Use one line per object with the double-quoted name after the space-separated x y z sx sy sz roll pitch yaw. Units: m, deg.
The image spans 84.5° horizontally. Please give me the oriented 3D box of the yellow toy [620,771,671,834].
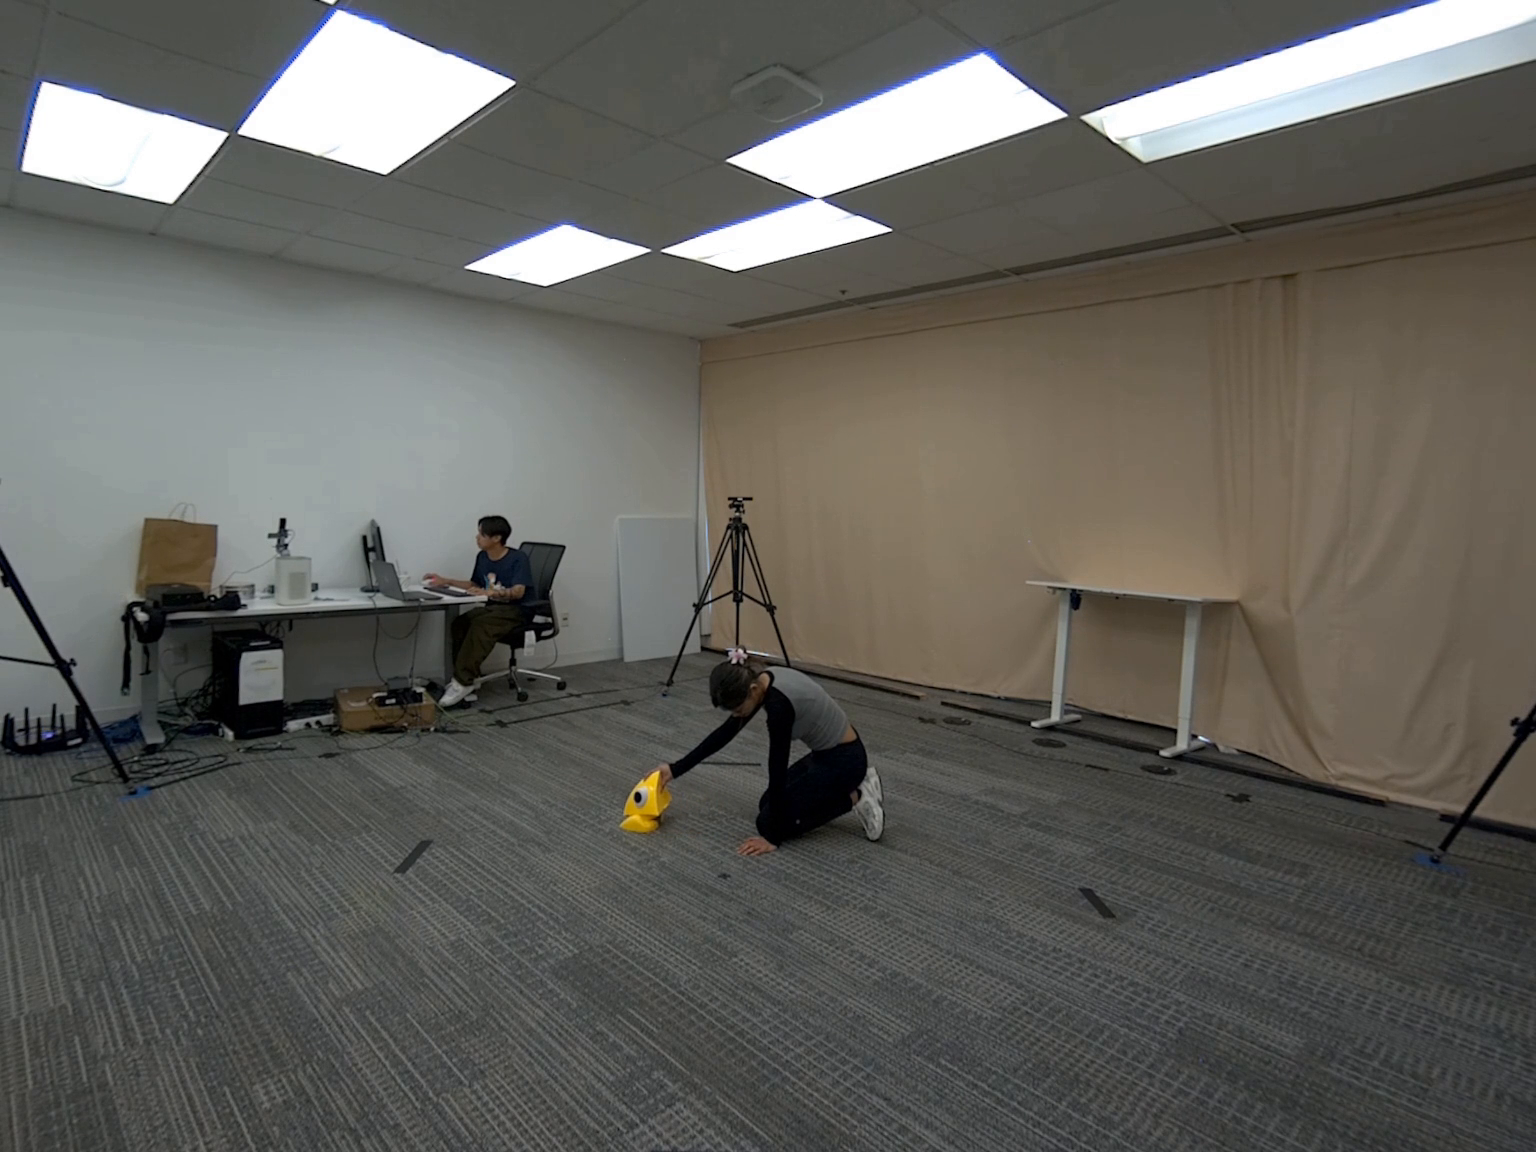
-0.530 0.940 3.595 0.195 0.230 0.203 2 5 10 "yellow toy"
